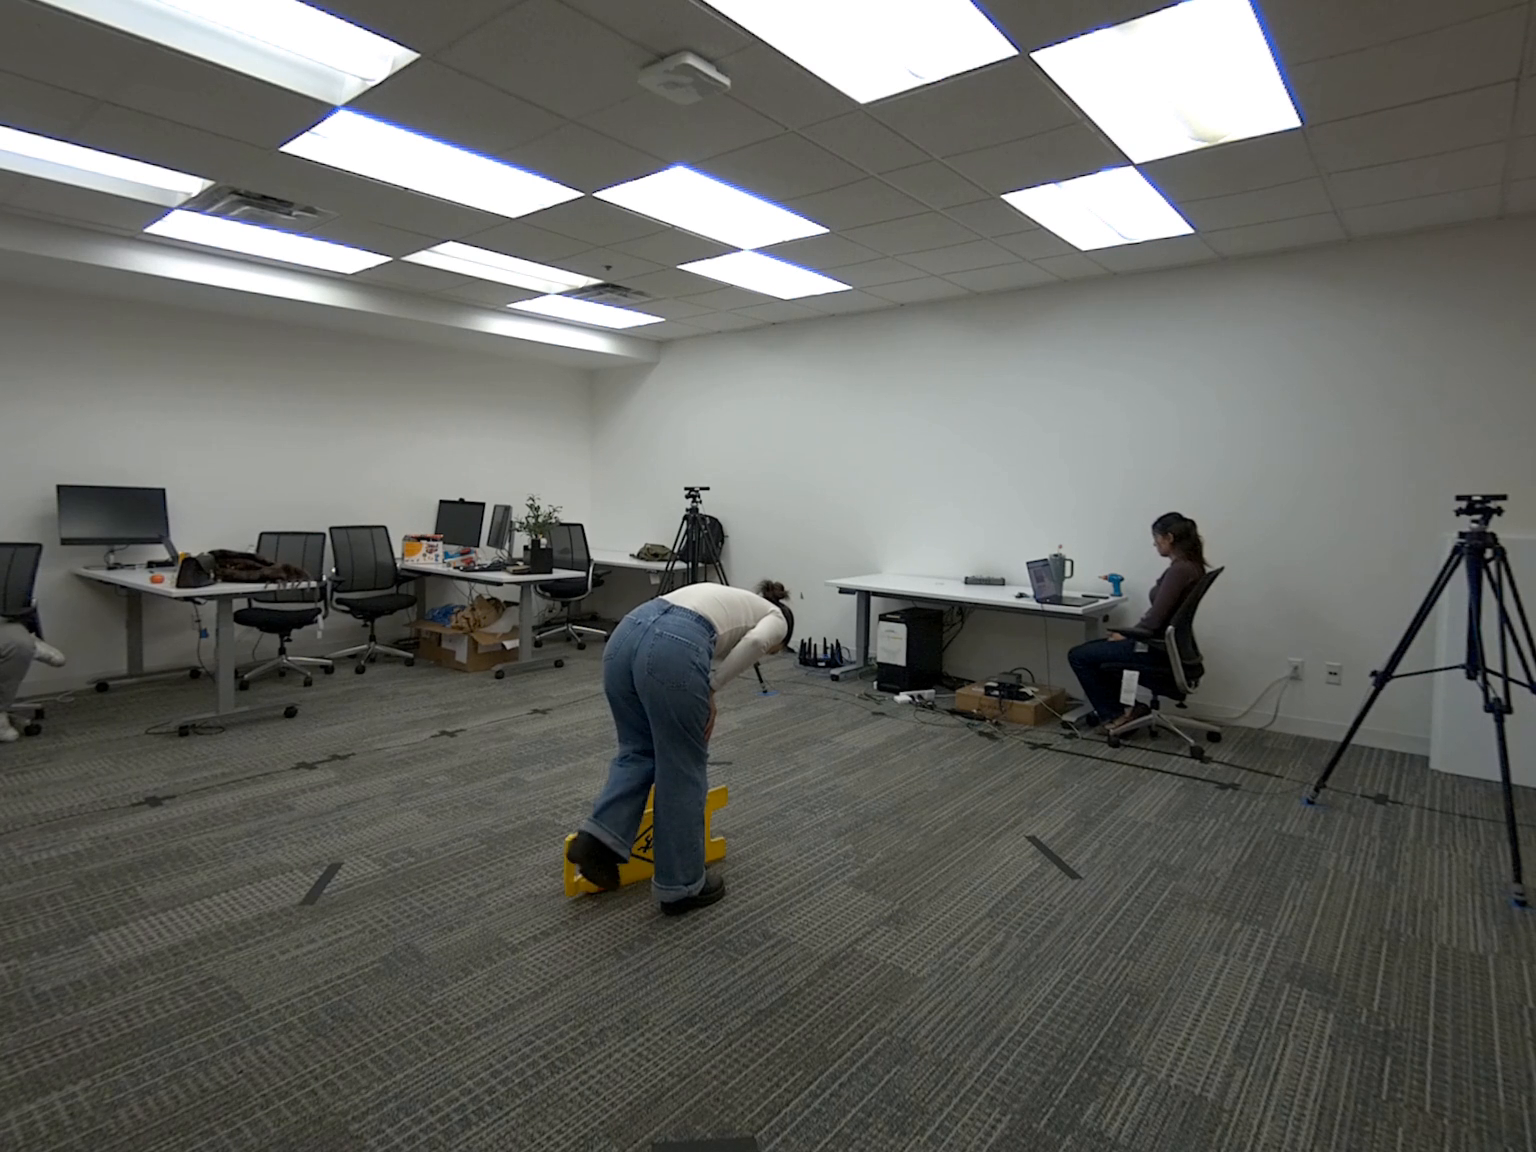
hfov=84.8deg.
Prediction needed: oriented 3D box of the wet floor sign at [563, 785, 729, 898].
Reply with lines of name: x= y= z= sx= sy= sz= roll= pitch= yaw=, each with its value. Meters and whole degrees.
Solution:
wet floor sign: x=-0.468 y=0.936 z=3.050 sx=0.300 sy=0.281 sz=0.628 roll=6 pitch=9 yaw=41
